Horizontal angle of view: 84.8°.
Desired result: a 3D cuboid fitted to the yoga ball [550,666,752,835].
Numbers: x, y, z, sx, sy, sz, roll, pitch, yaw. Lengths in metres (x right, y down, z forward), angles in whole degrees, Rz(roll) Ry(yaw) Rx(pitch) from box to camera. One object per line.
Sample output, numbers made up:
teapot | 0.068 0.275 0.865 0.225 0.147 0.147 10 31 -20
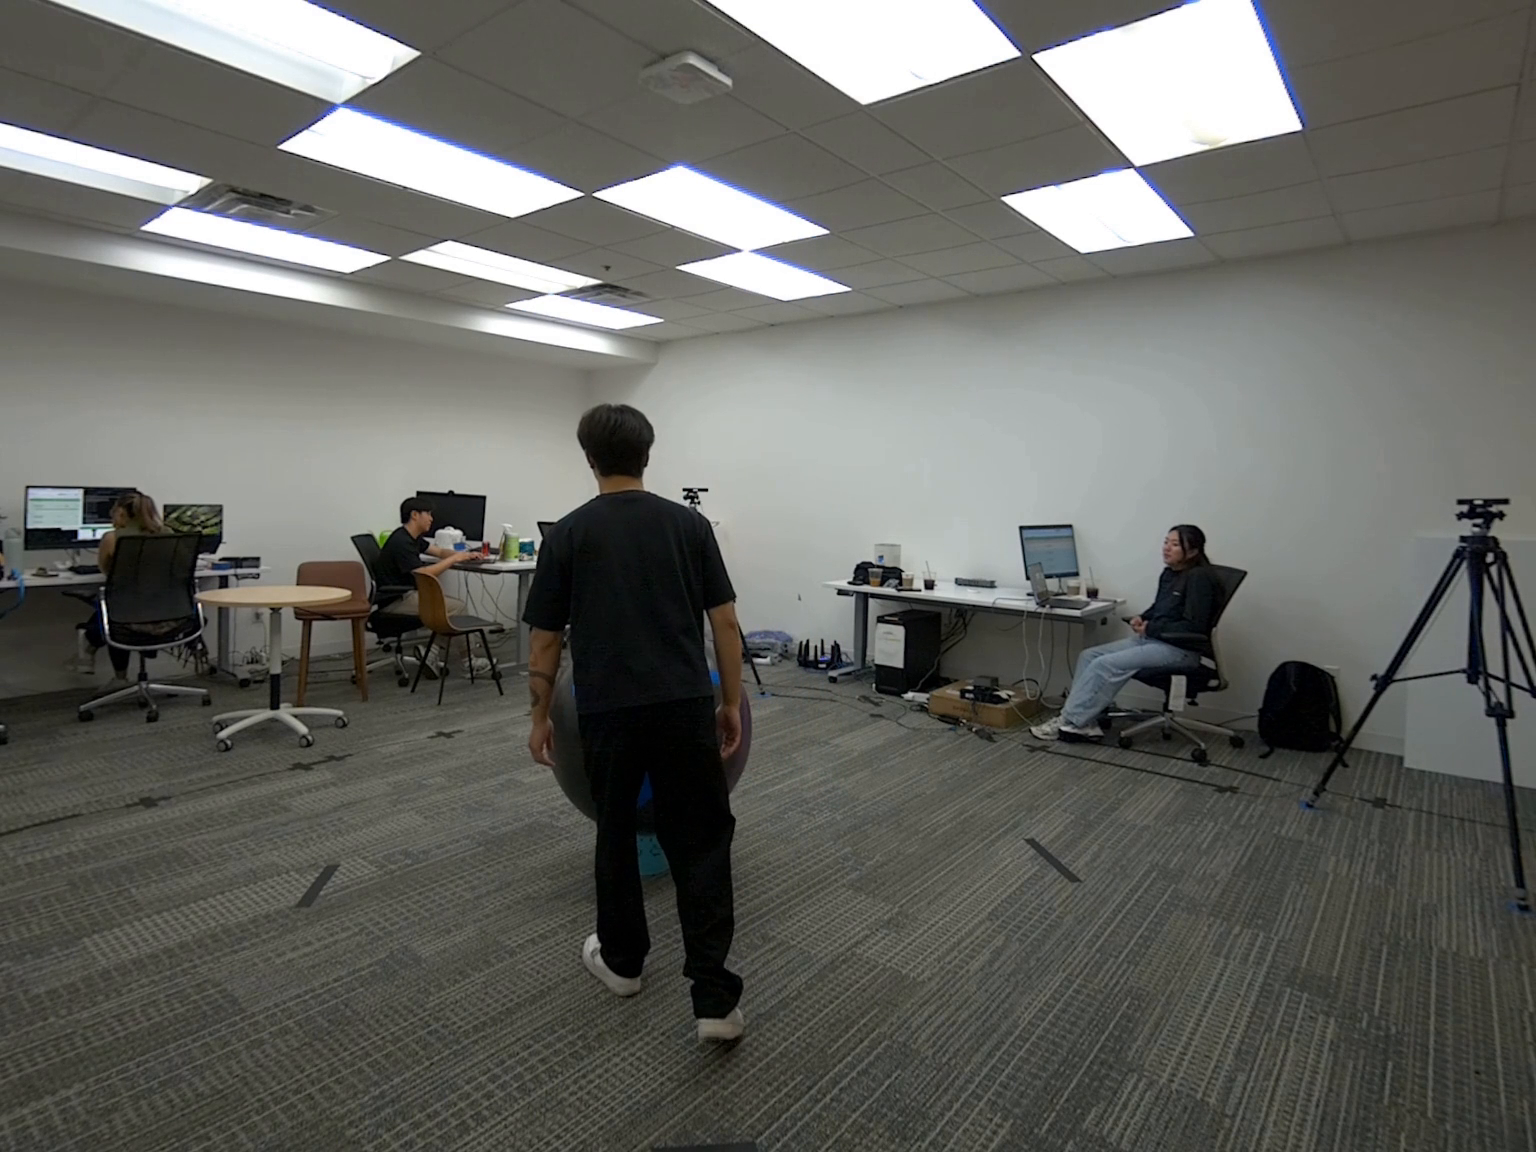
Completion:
yoga ball | -0.444 0.550 3.131 0.757 0.756 0.762 1 4 -2
